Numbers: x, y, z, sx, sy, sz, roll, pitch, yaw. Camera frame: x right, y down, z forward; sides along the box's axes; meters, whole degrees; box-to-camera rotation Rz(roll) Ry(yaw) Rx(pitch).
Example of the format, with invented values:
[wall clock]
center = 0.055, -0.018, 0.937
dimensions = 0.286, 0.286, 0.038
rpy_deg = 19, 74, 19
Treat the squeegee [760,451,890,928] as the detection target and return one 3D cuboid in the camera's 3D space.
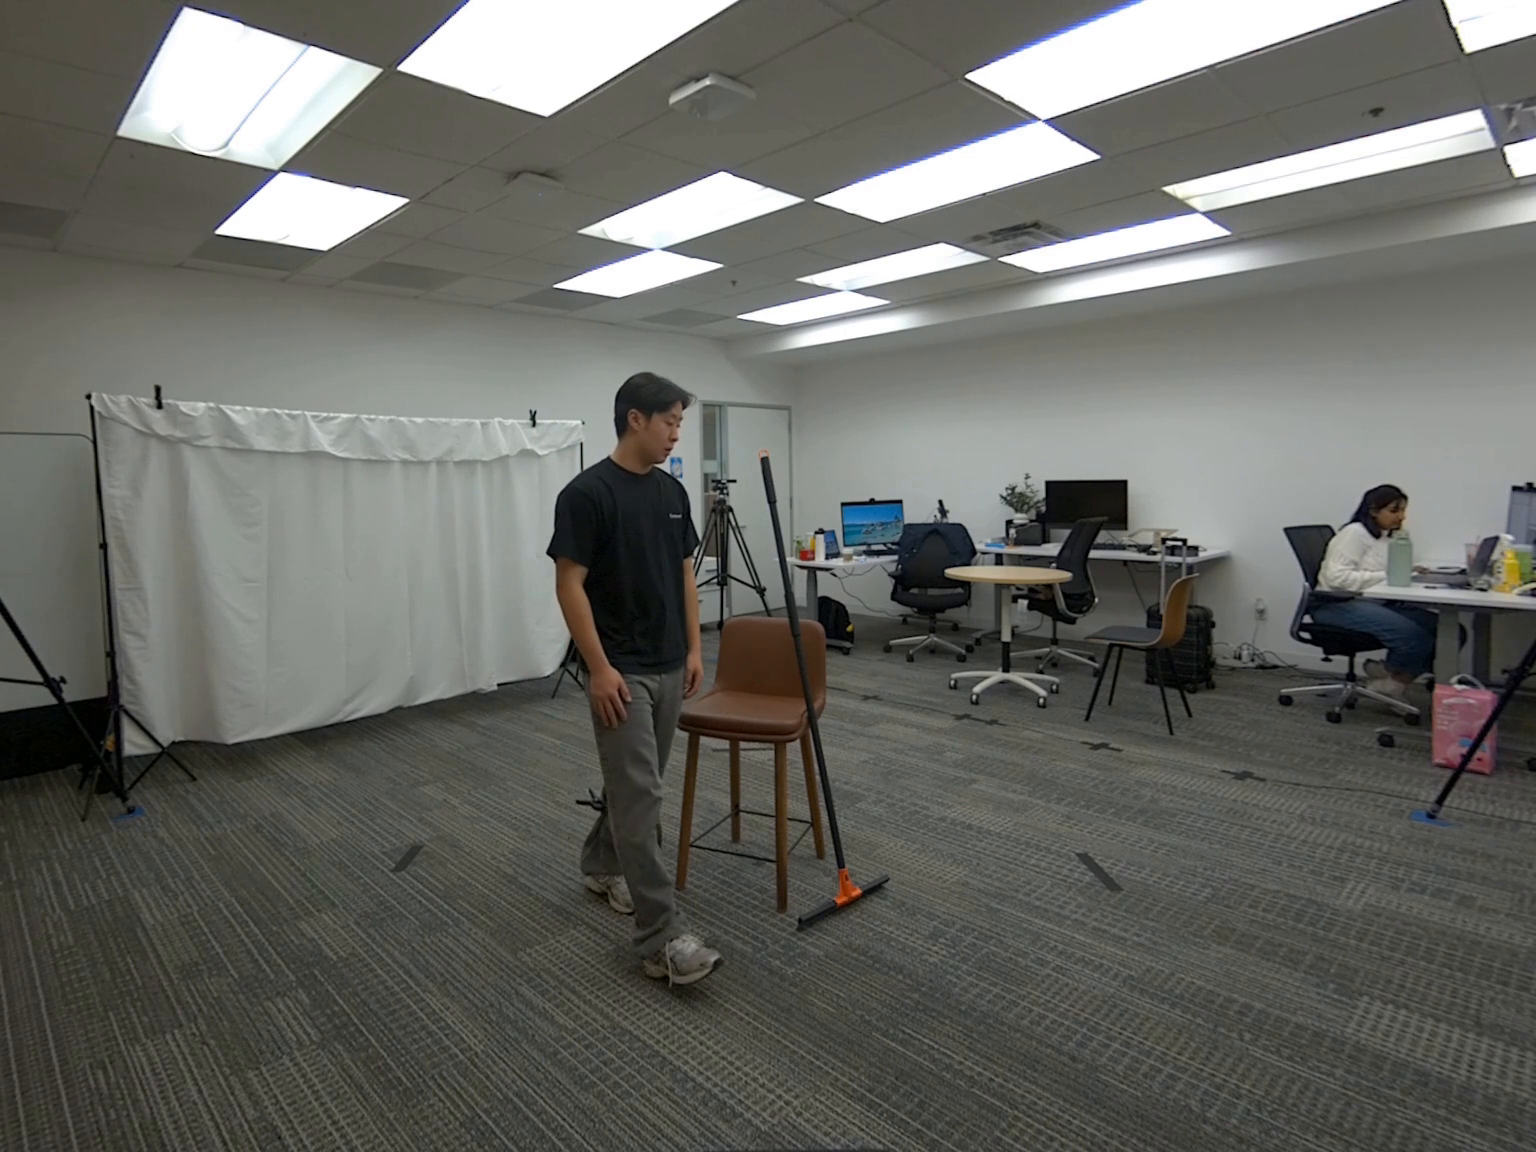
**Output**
[squeegee]
center = 0.123, 0.320, 2.863
dimensions = 0.425, 1.550, 0.054
rpy_deg = -2, -10, -40
